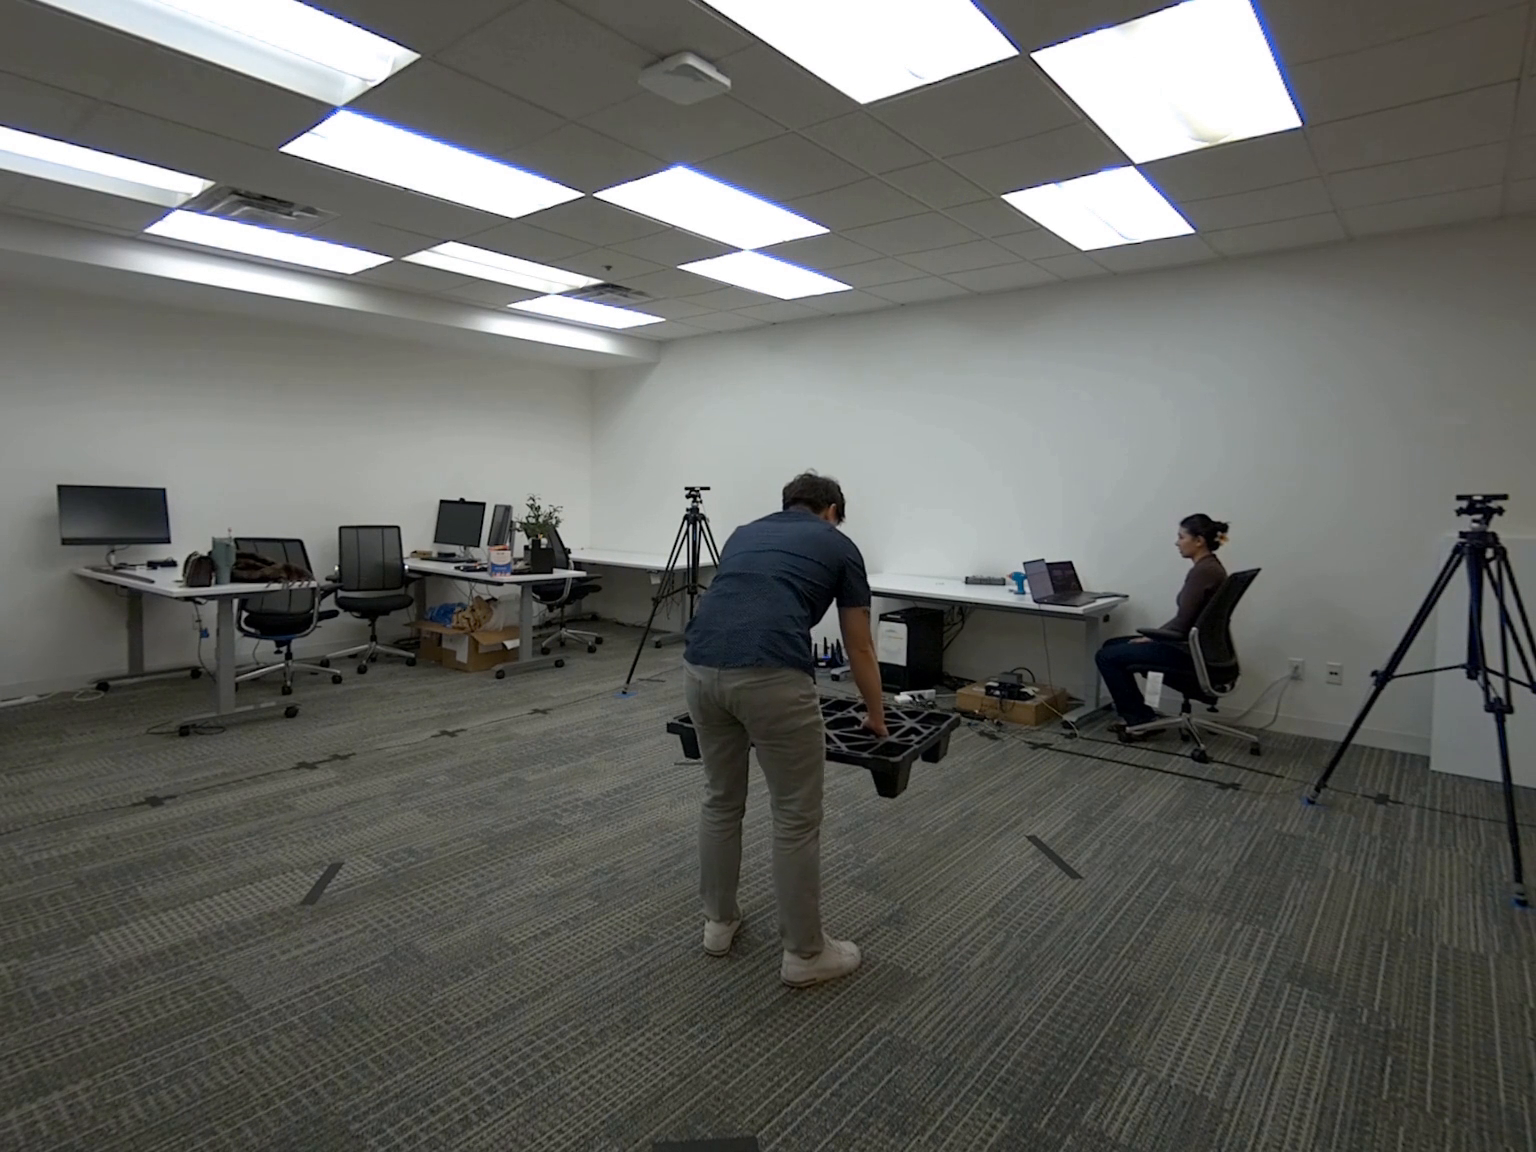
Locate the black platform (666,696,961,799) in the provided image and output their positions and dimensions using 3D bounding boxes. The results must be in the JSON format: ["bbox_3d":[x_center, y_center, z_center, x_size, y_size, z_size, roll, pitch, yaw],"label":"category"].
[{"bbox_3d":[0.154,0.535,2.808,0.829,0.142,0.590,2,7,31],"label":"black platform"}]
